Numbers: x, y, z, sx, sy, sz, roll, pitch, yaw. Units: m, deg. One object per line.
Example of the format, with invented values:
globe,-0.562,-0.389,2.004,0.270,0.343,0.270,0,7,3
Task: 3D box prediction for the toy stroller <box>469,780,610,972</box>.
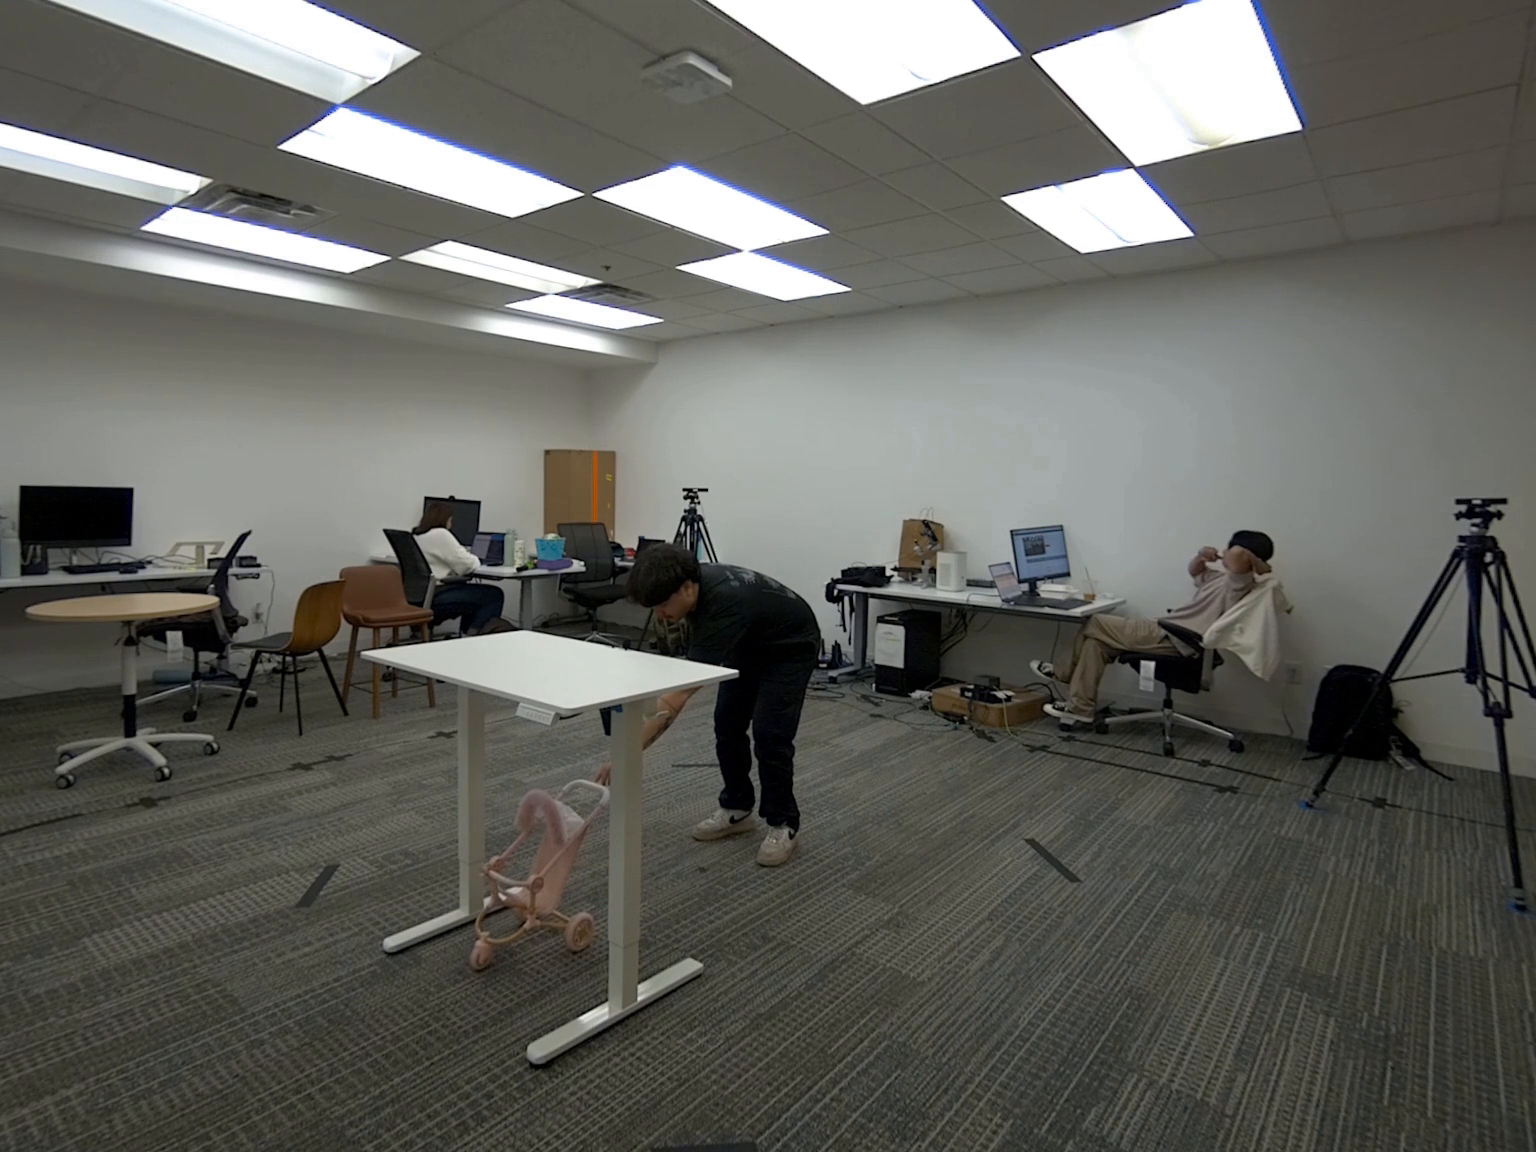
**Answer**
toy stroller,-0.711,0.889,2.578,0.291,0.538,0.328,3,-11,43
